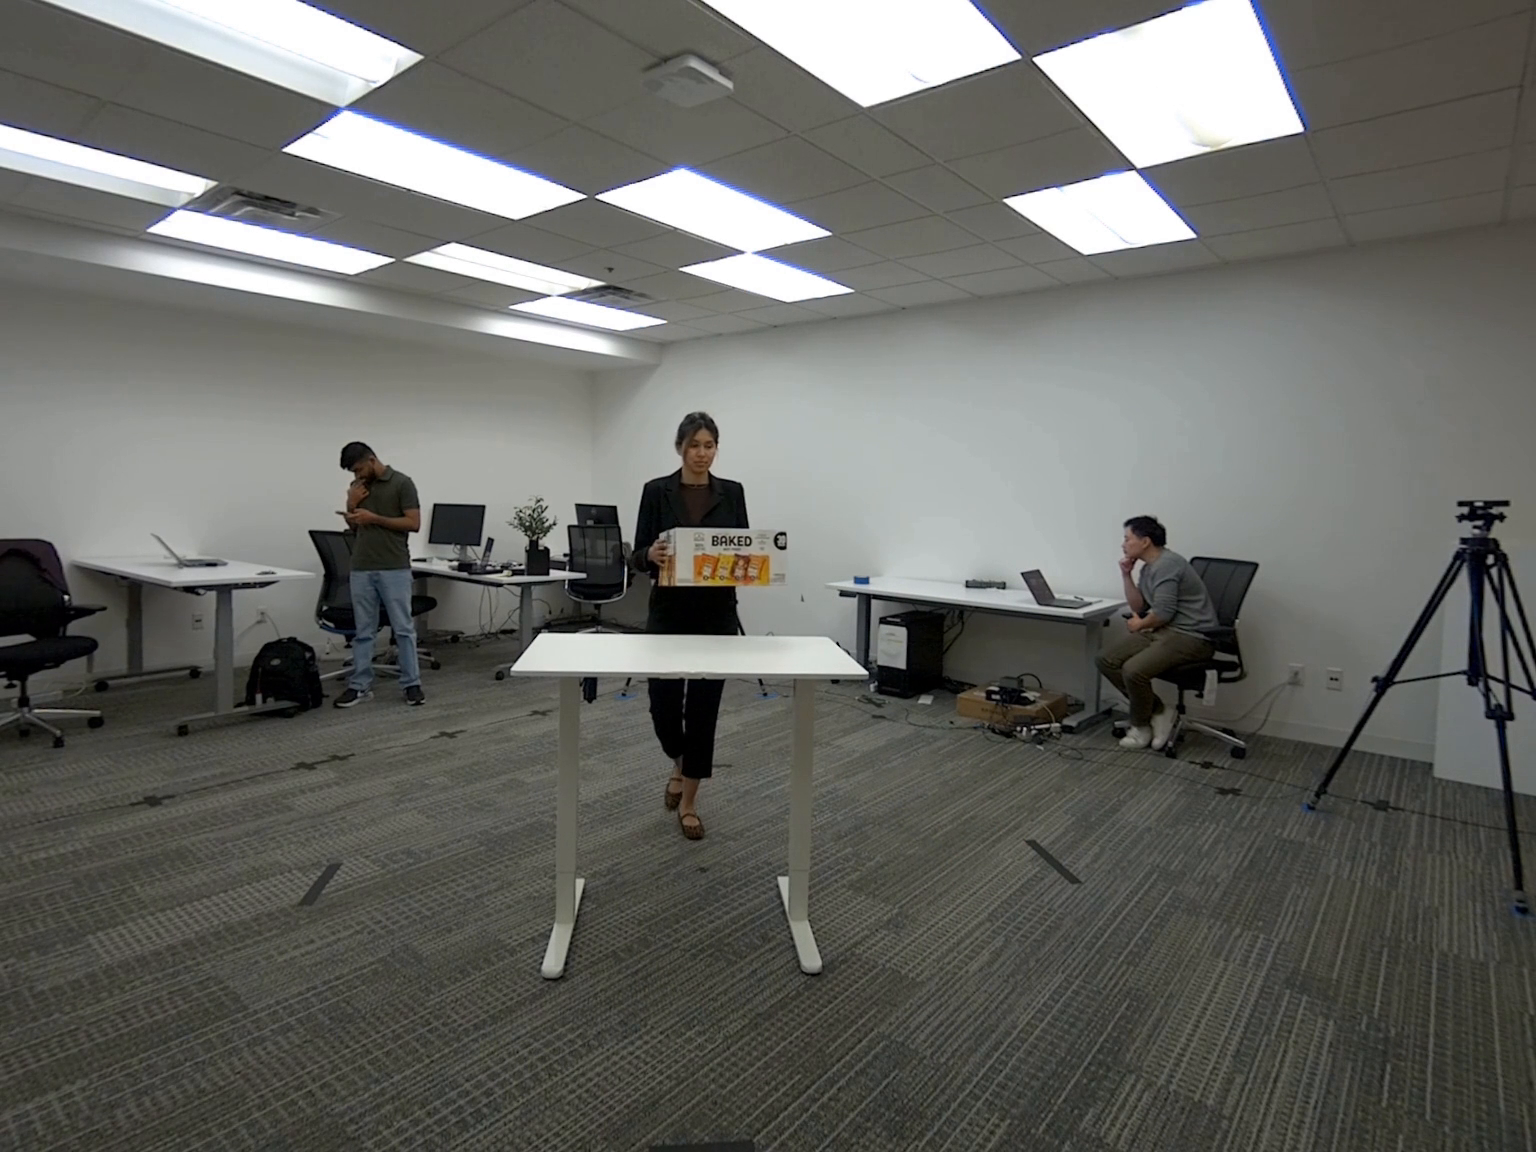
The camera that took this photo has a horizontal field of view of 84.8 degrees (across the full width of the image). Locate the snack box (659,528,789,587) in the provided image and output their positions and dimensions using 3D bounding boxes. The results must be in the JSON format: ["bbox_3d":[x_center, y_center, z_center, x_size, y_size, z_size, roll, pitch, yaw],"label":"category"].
[{"bbox_3d":[-0.187,-0.067,3.154,0.399,0.206,0.345,0,-1,-16],"label":"snack box"}]
